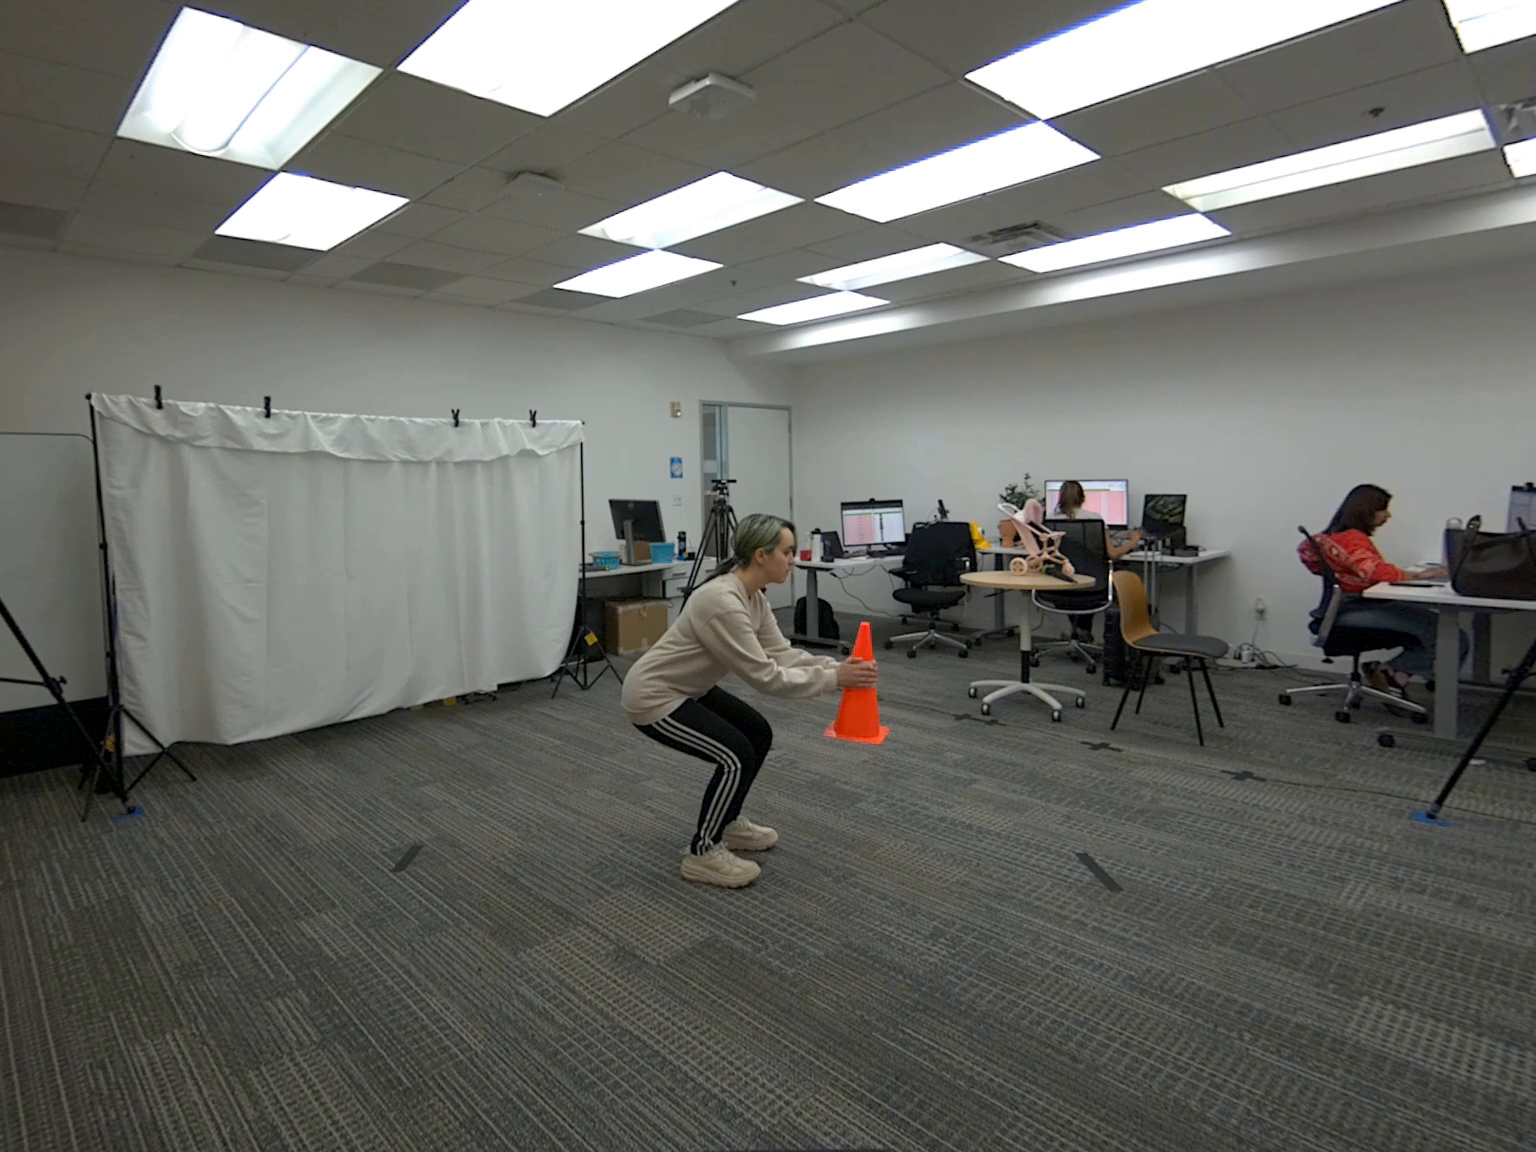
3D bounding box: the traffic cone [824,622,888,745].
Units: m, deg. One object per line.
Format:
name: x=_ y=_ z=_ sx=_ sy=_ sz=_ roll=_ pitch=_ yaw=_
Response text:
traffic cone: x=0.314 y=0.348 z=2.920 sx=0.208 sy=0.382 sz=0.201 roll=4 pitch=7 yaw=22
